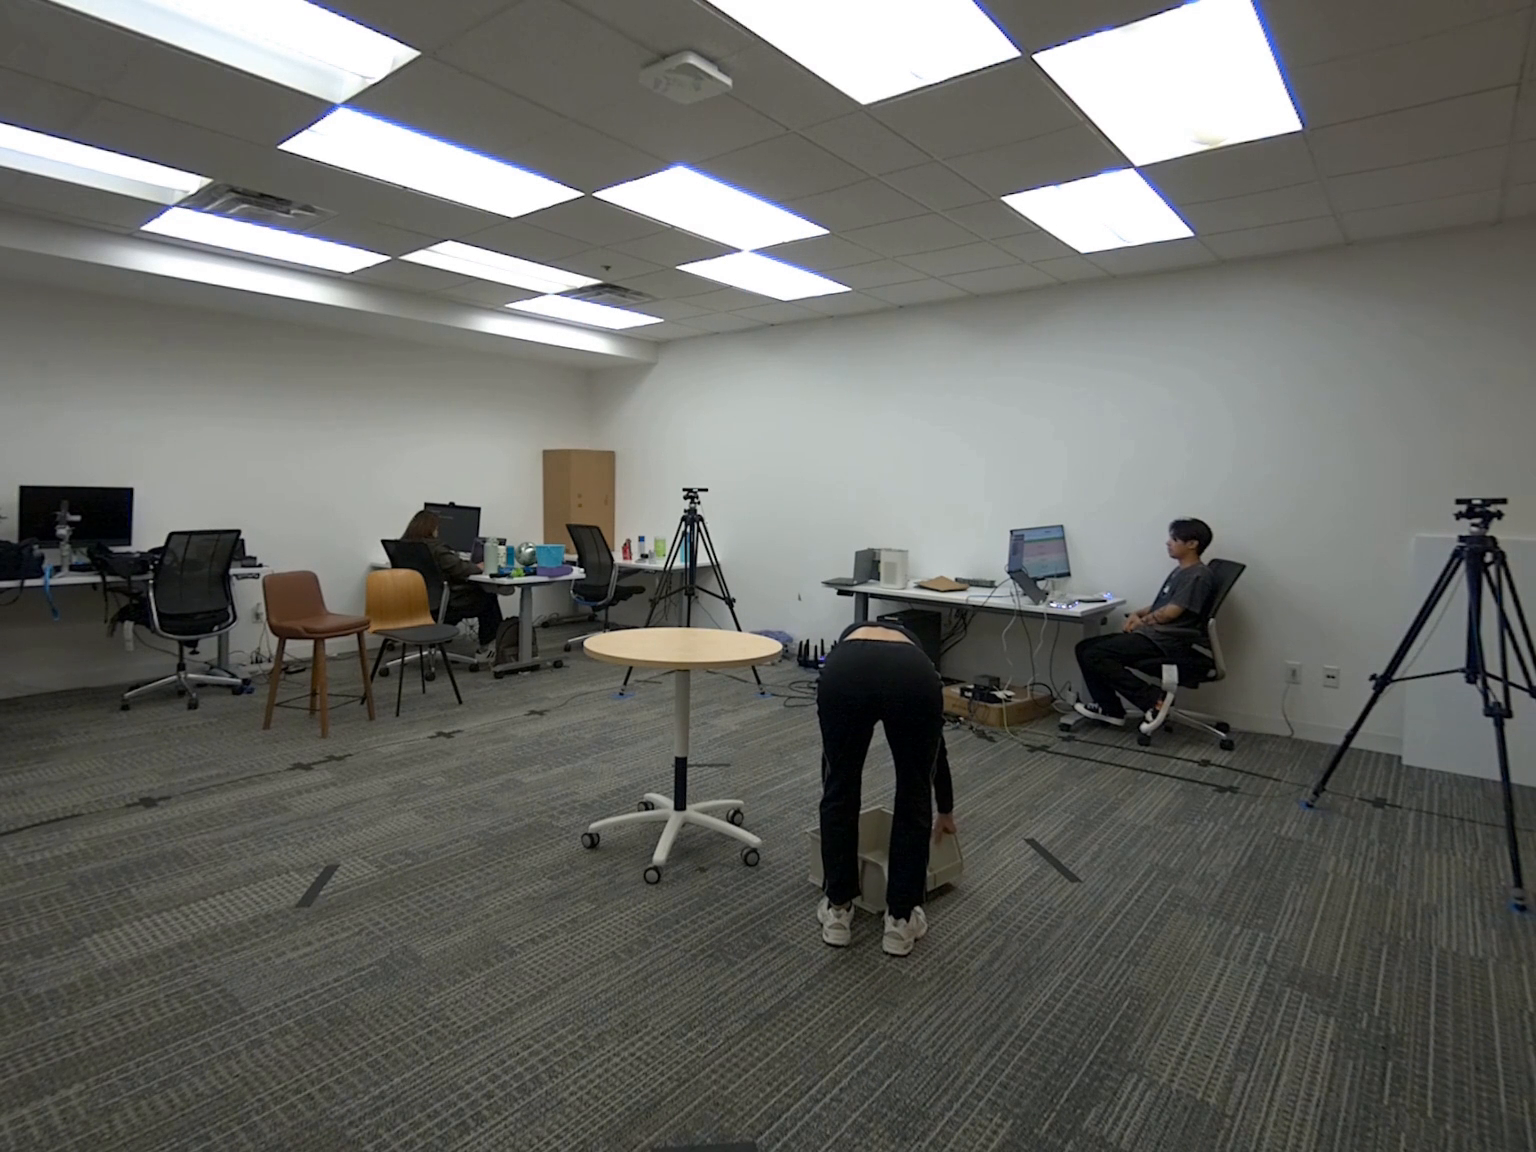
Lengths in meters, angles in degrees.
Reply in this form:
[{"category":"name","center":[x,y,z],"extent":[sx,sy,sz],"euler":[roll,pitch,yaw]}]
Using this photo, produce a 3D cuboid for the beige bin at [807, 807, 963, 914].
[{"category":"beige bin","center":[0.413,0.994,3.023],"extent":[0.410,0.188,0.390],"euler":[-5,6,-41]}]
